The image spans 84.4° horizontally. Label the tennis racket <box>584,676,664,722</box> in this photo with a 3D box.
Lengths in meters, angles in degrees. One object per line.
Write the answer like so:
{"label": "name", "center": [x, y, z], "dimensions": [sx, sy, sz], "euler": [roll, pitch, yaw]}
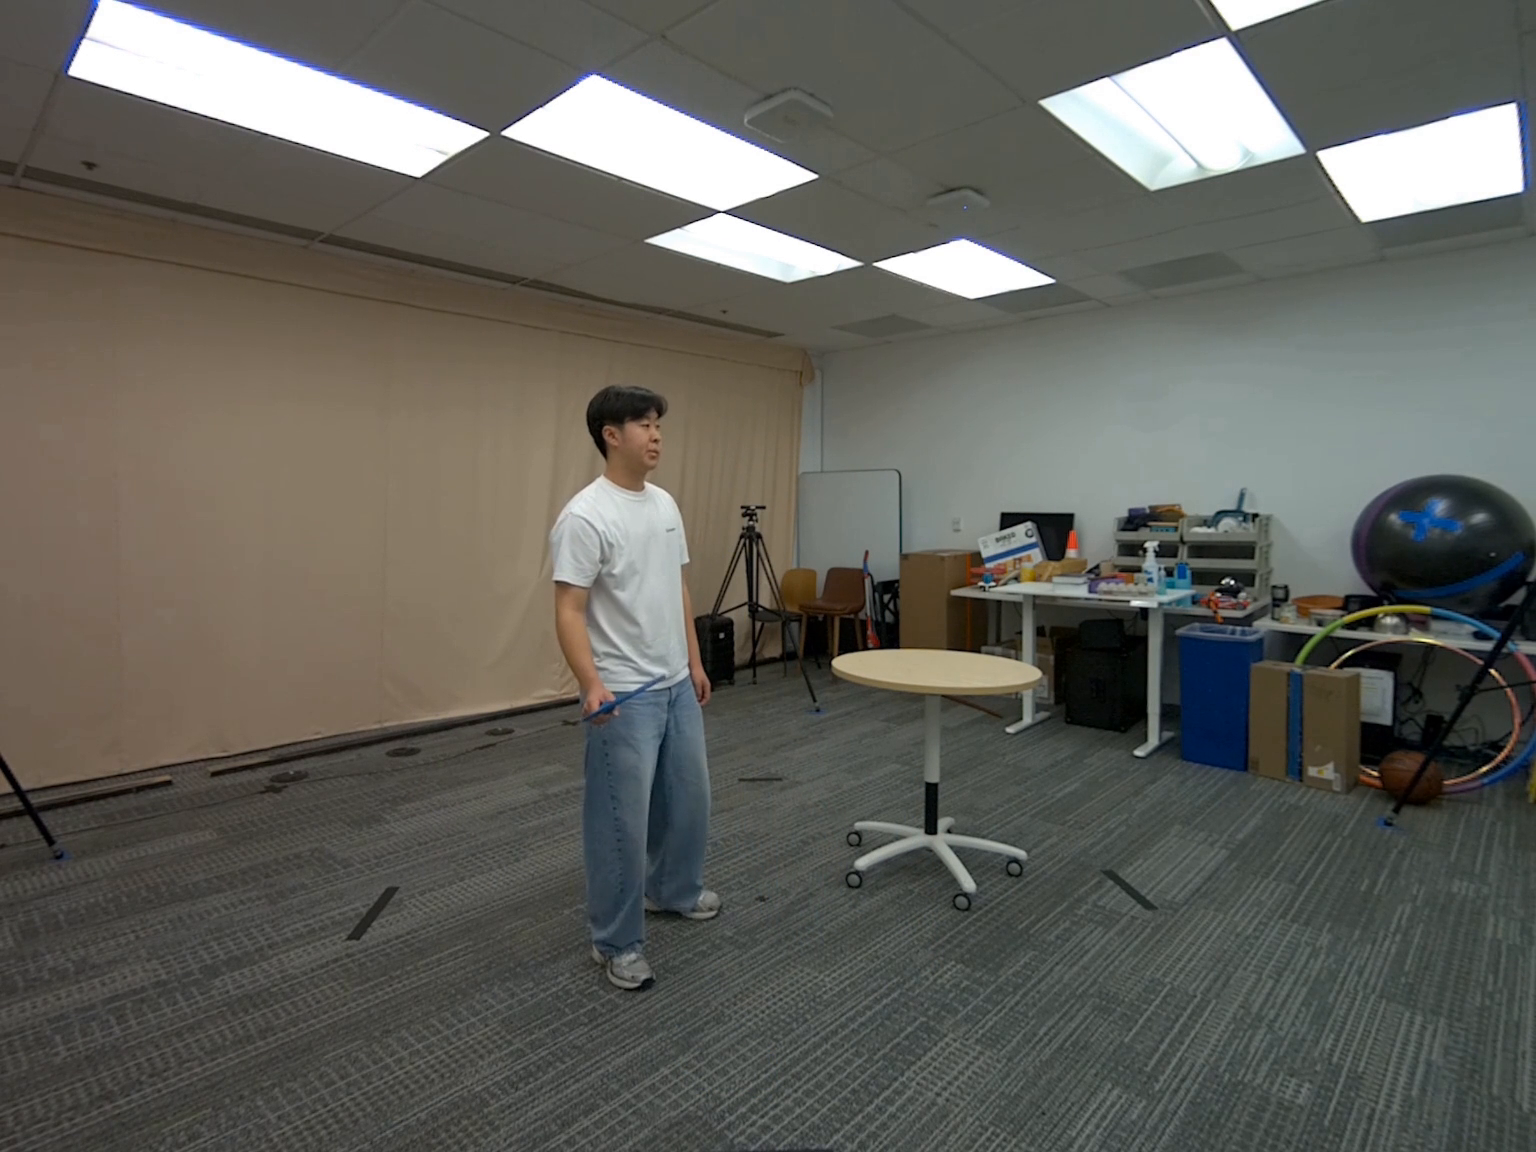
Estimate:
{"label": "tennis racket", "center": [-0.369, 0.307, 2.043], "dimensions": [0.211, 0.032, 0.436], "euler": [-28, -3, -22]}
